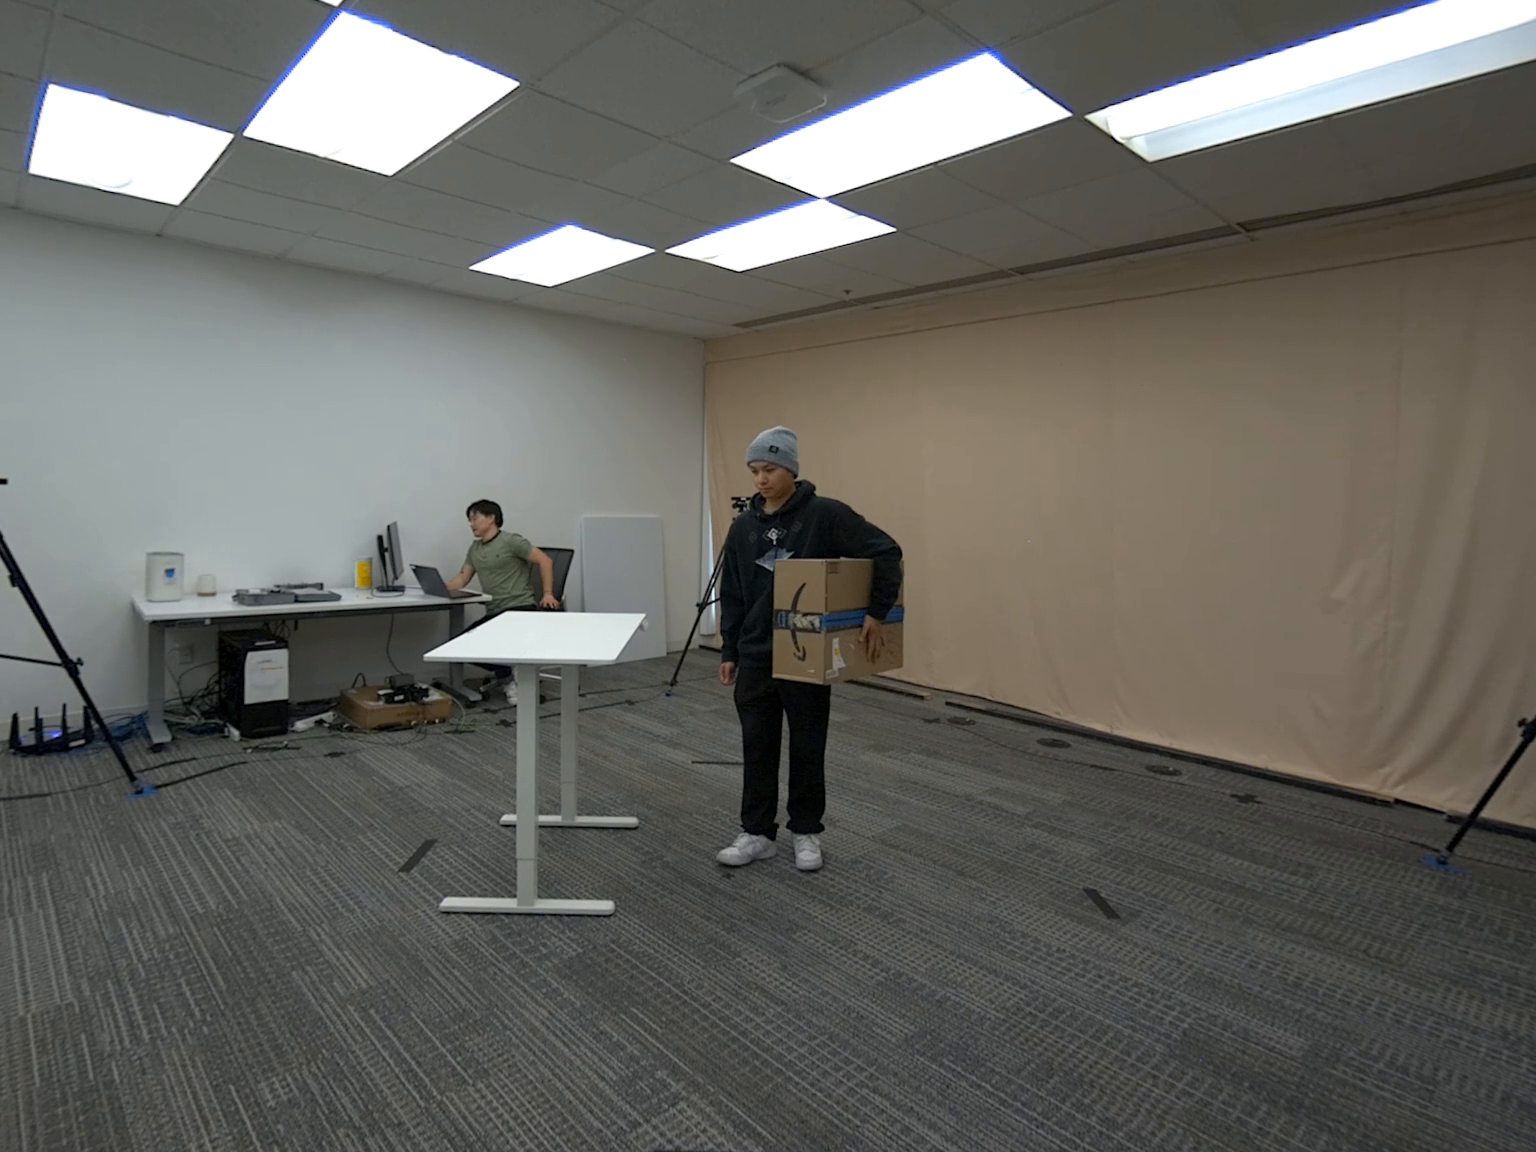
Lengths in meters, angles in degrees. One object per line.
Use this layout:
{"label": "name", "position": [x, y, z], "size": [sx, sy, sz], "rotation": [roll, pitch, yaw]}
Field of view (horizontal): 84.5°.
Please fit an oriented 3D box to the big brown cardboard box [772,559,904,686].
{"label": "big brown cardboard box", "position": [0.260, 0.149, 3.072], "size": [0.238, 0.417, 0.576], "rotation": [1, 1, 35]}
